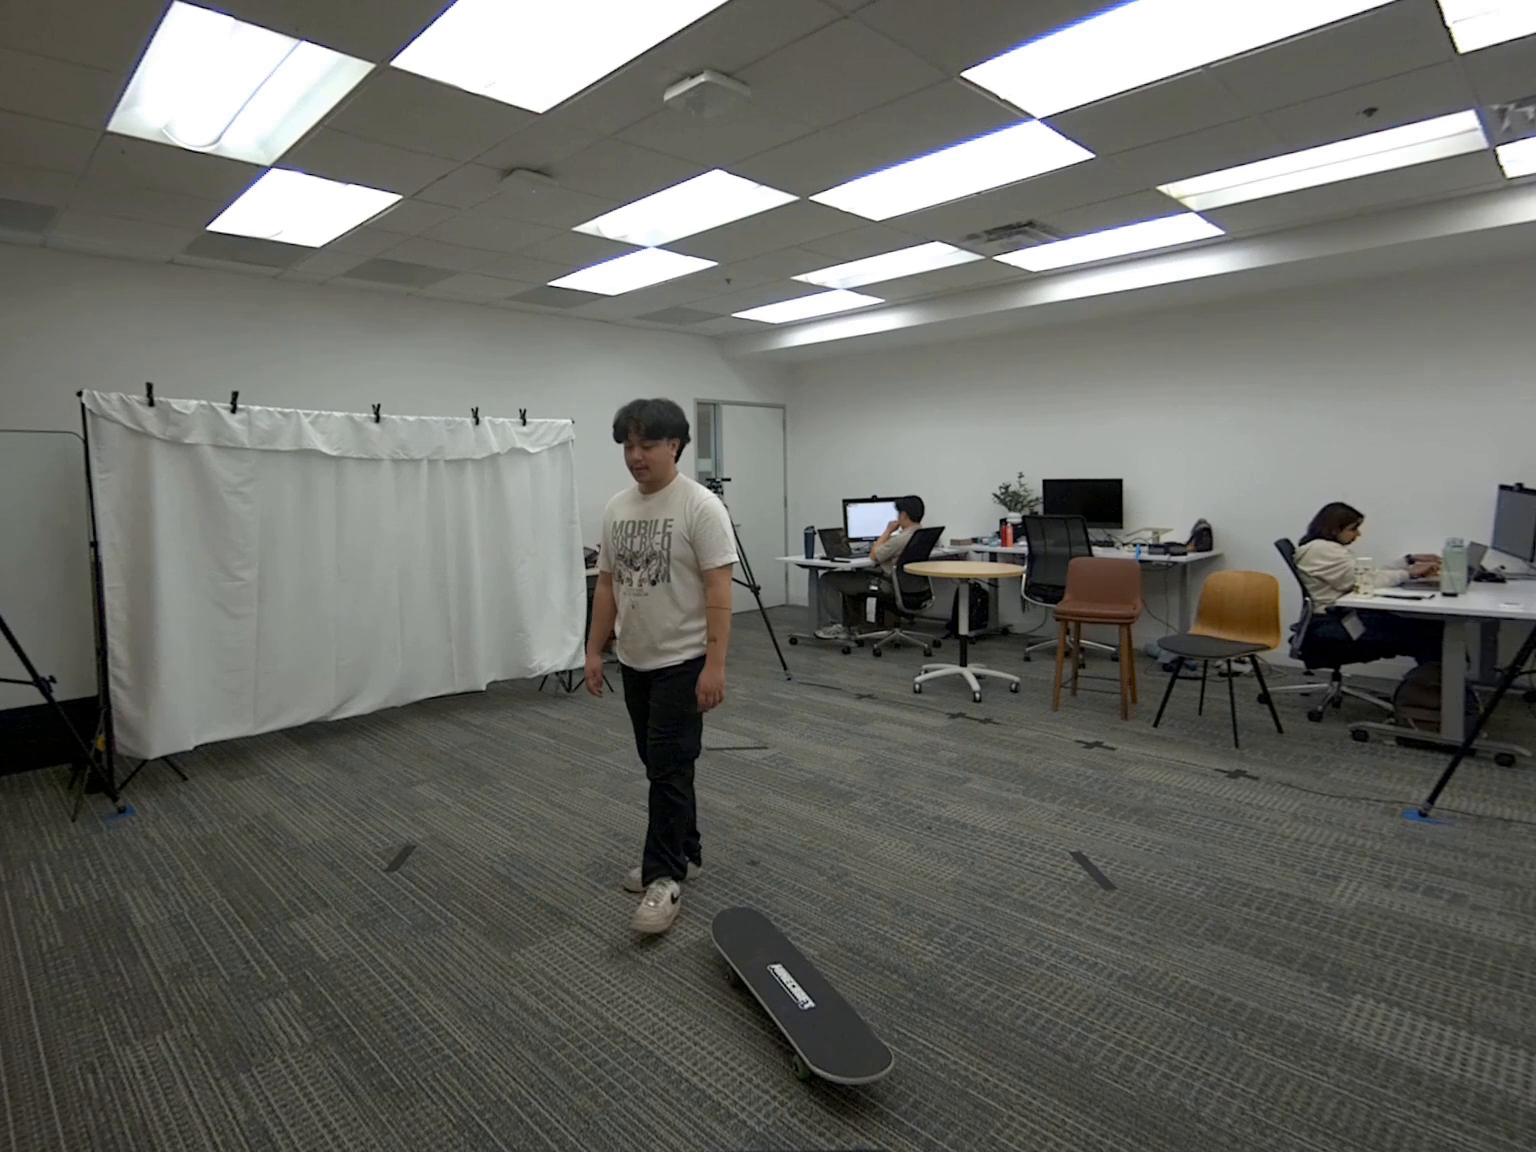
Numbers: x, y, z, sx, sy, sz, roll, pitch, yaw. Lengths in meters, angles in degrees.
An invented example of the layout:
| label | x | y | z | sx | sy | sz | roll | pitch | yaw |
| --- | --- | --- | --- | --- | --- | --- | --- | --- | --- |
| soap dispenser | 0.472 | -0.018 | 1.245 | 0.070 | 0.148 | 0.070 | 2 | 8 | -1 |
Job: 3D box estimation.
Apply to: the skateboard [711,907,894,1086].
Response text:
| label | x | y | z | sx | sy | sz | roll | pitch | yaw |
| --- | --- | --- | --- | --- | --- | --- | --- | --- | --- |
| skateboard | 0.065 | 1.090 | 2.211 | 0.189 | 0.110 | 0.805 | -4 | 7 | -24 |
